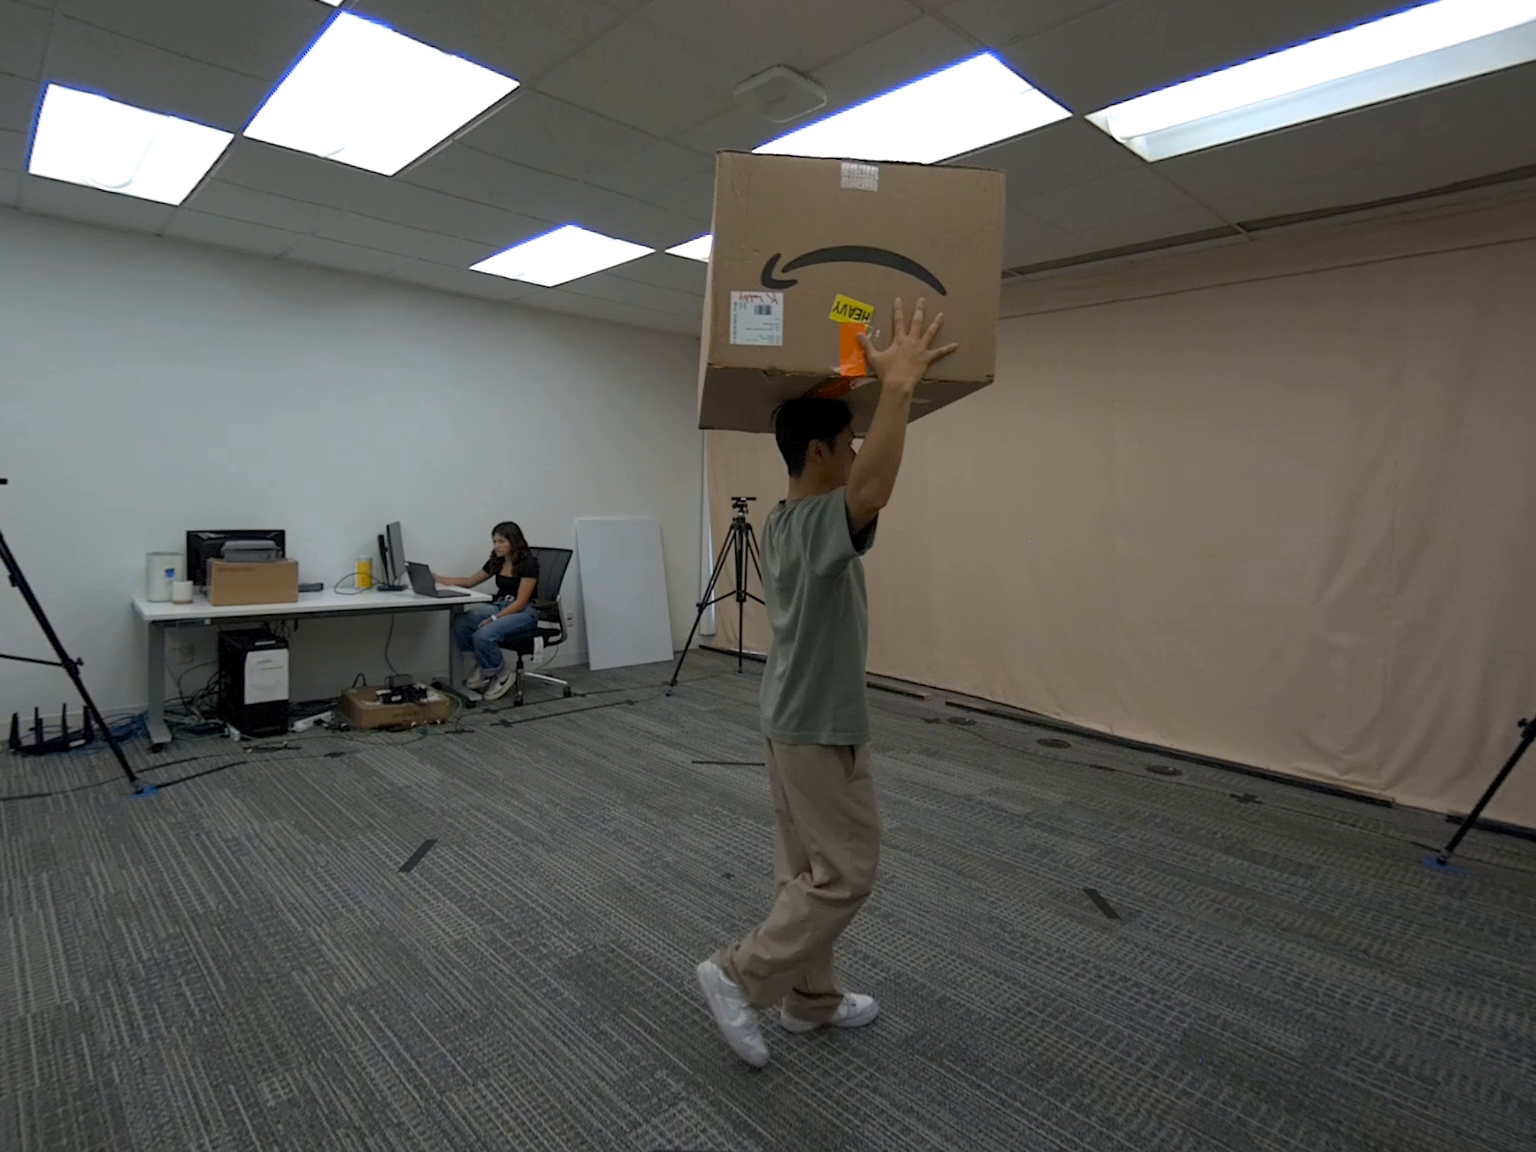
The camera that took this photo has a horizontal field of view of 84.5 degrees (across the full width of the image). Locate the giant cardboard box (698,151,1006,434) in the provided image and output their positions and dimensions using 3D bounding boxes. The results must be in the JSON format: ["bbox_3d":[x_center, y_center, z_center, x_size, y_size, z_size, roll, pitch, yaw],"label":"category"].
[{"bbox_3d":[0.120,-0.635,2.146,0.576,0.426,1.029,3,2,-4],"label":"giant cardboard box"}]
